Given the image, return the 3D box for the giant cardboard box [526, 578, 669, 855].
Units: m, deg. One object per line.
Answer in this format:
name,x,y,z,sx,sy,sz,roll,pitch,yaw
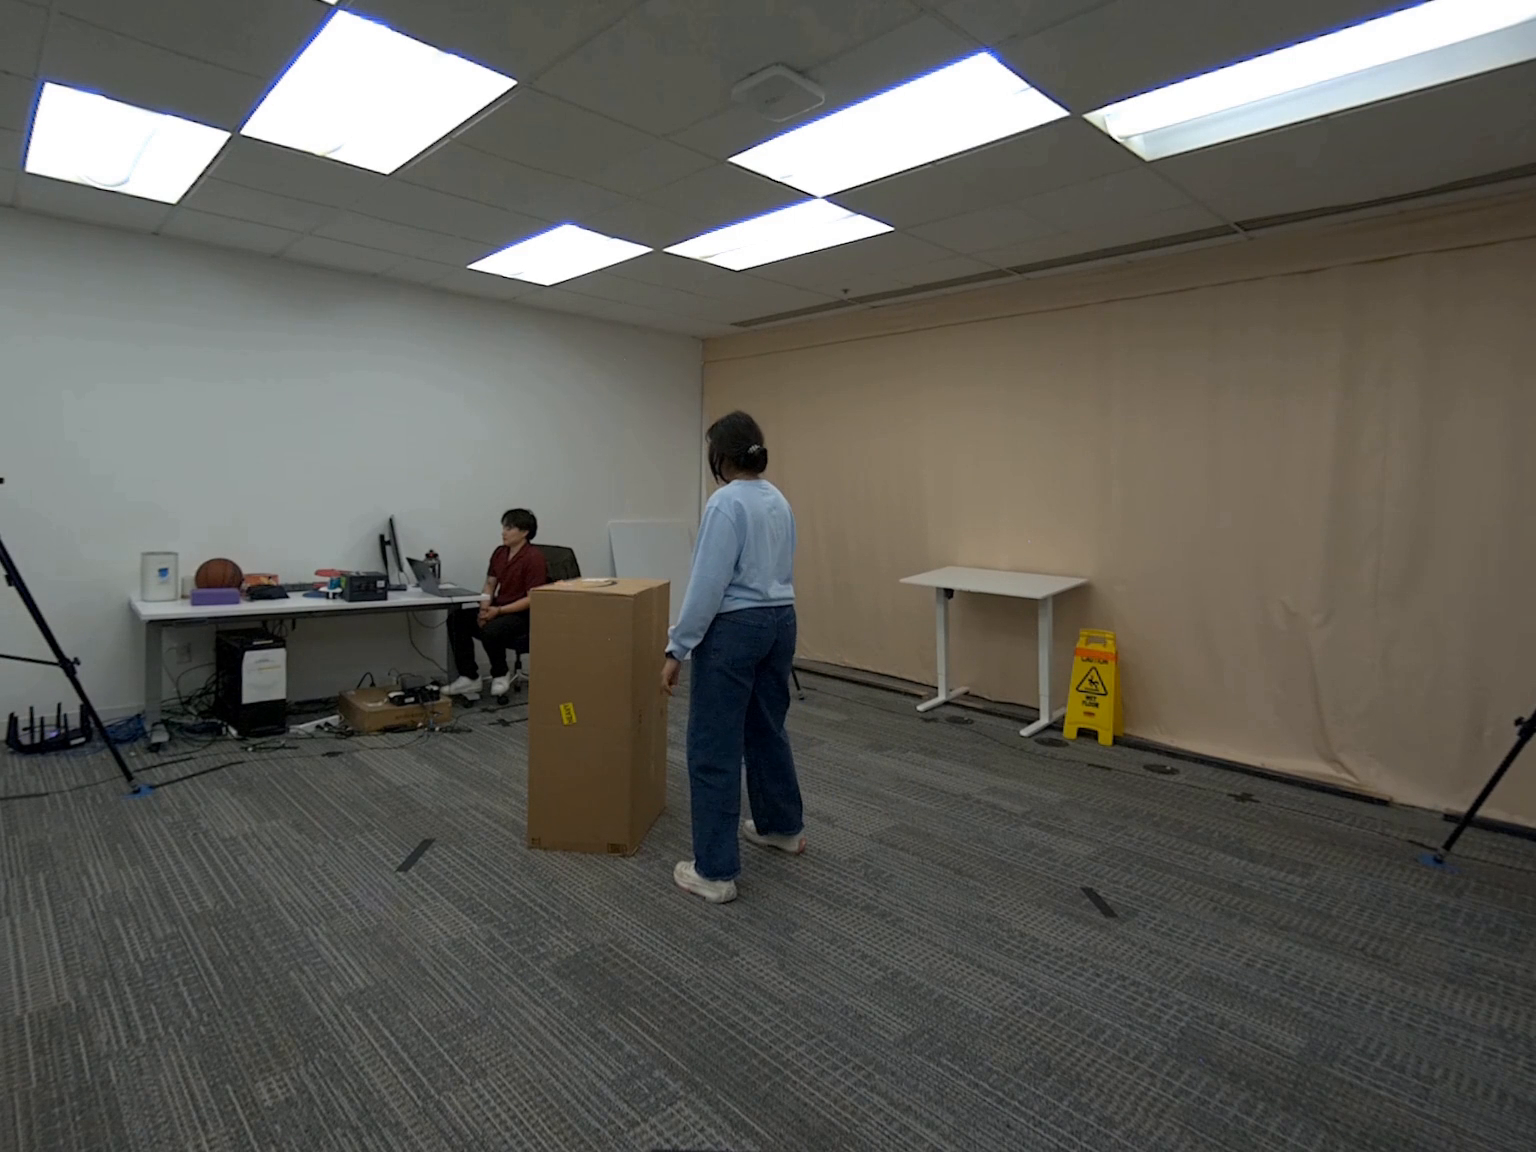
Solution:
giant cardboard box,-0.700,0.544,3.532,0.429,1.023,0.574,2,3,8
